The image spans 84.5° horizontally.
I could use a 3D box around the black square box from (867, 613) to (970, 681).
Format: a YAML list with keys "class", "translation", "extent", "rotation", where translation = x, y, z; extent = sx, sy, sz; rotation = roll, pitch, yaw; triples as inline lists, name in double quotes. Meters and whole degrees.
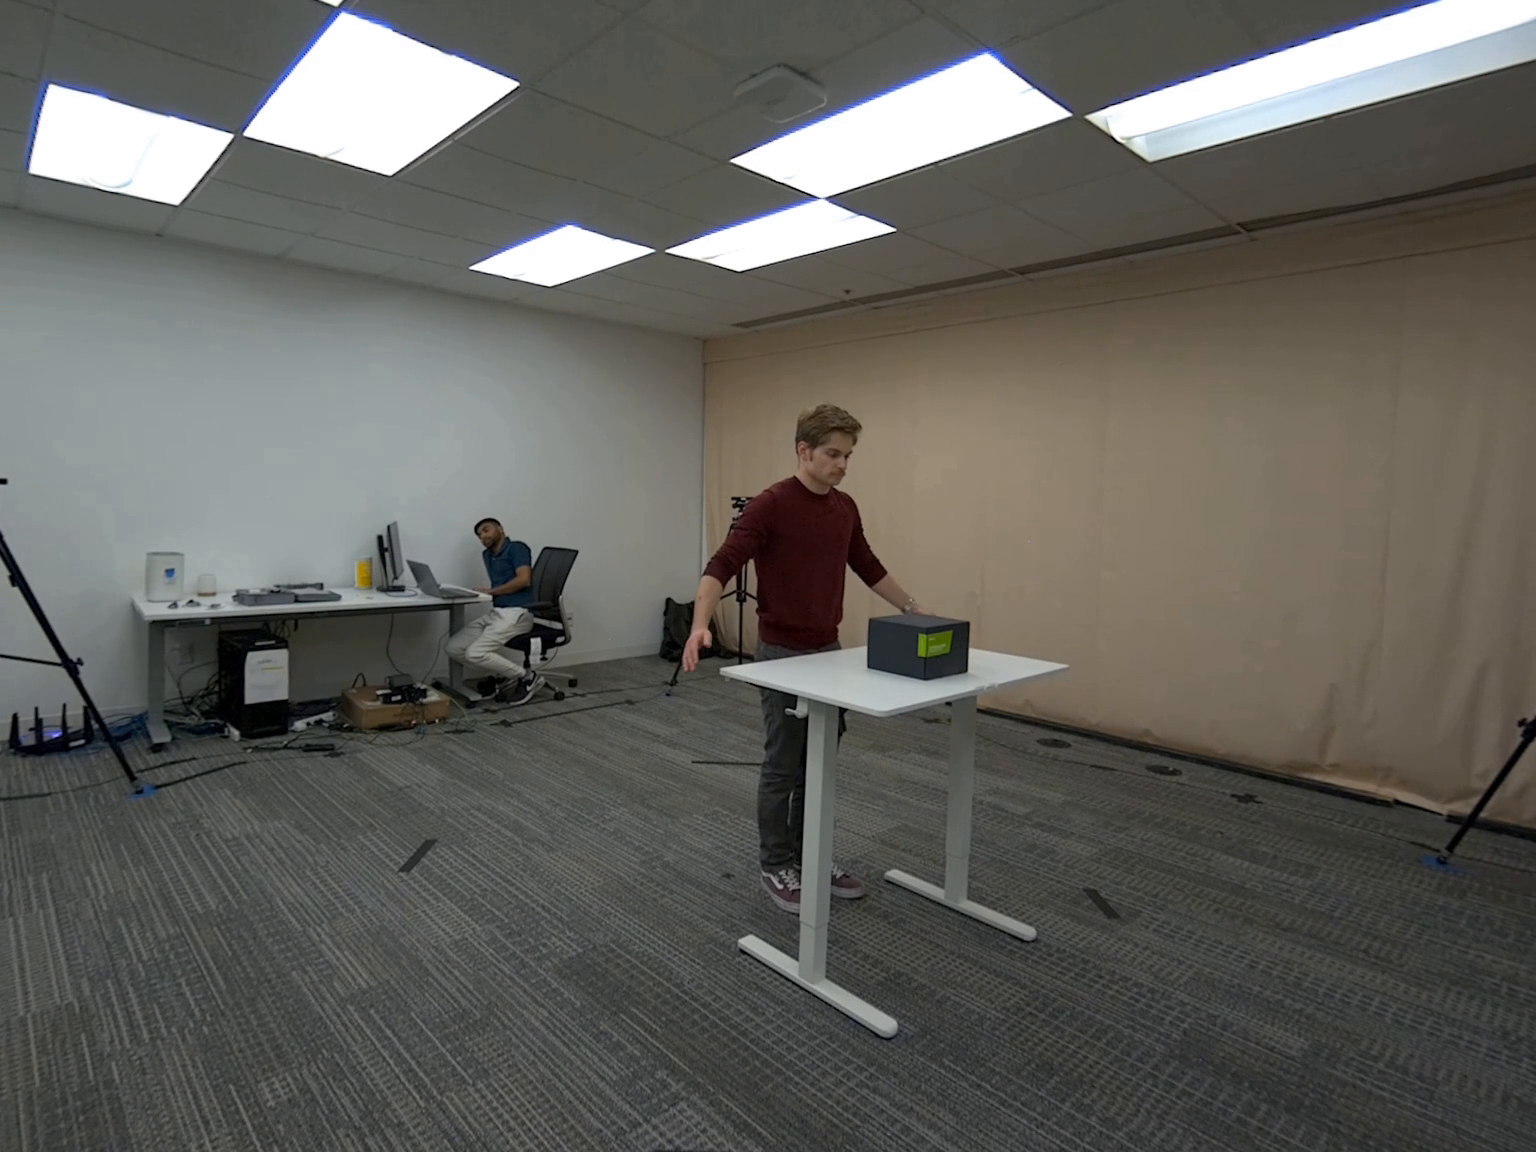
- class: "black square box"
  translation: [0.447, 0.209, 2.560]
  extent: [0.223, 0.155, 0.223]
  rotation: [-3, 7, -44]
